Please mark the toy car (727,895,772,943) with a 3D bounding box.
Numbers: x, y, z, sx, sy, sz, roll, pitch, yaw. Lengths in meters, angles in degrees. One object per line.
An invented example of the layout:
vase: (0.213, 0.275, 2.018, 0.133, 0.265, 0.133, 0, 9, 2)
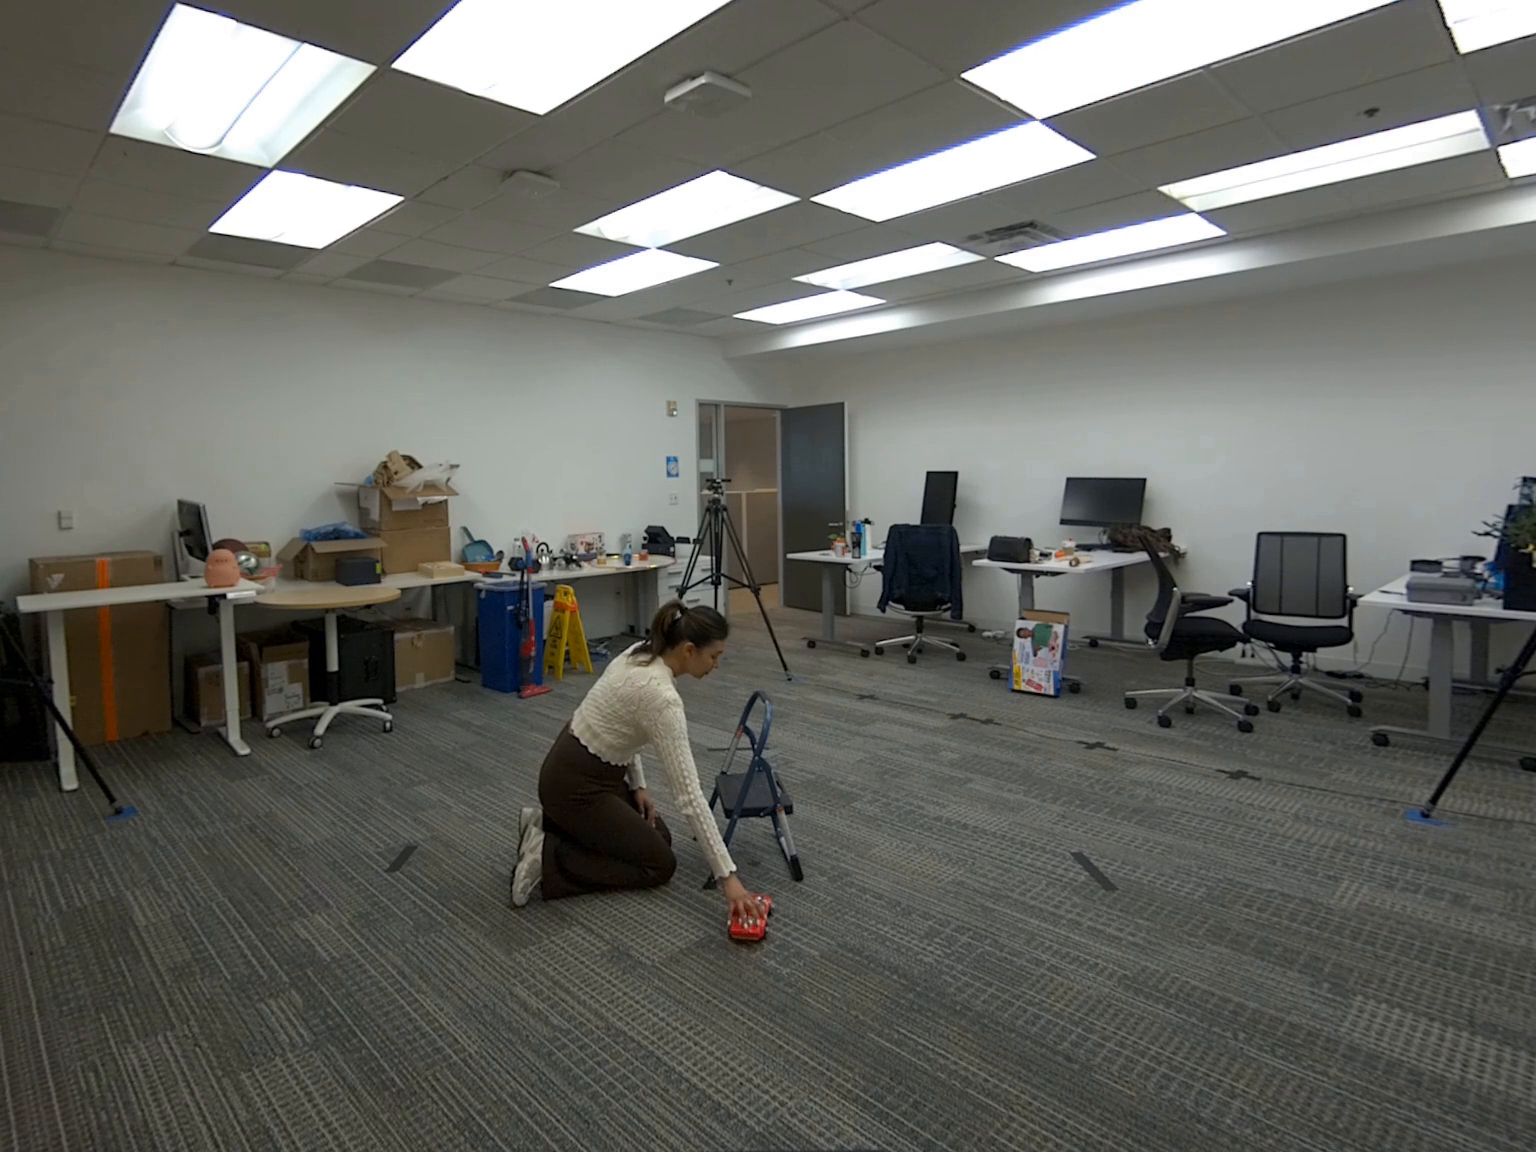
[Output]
toy car: (-0.058, 1.064, 2.659, 0.131, 0.083, 0.252, -2, -3, 6)
